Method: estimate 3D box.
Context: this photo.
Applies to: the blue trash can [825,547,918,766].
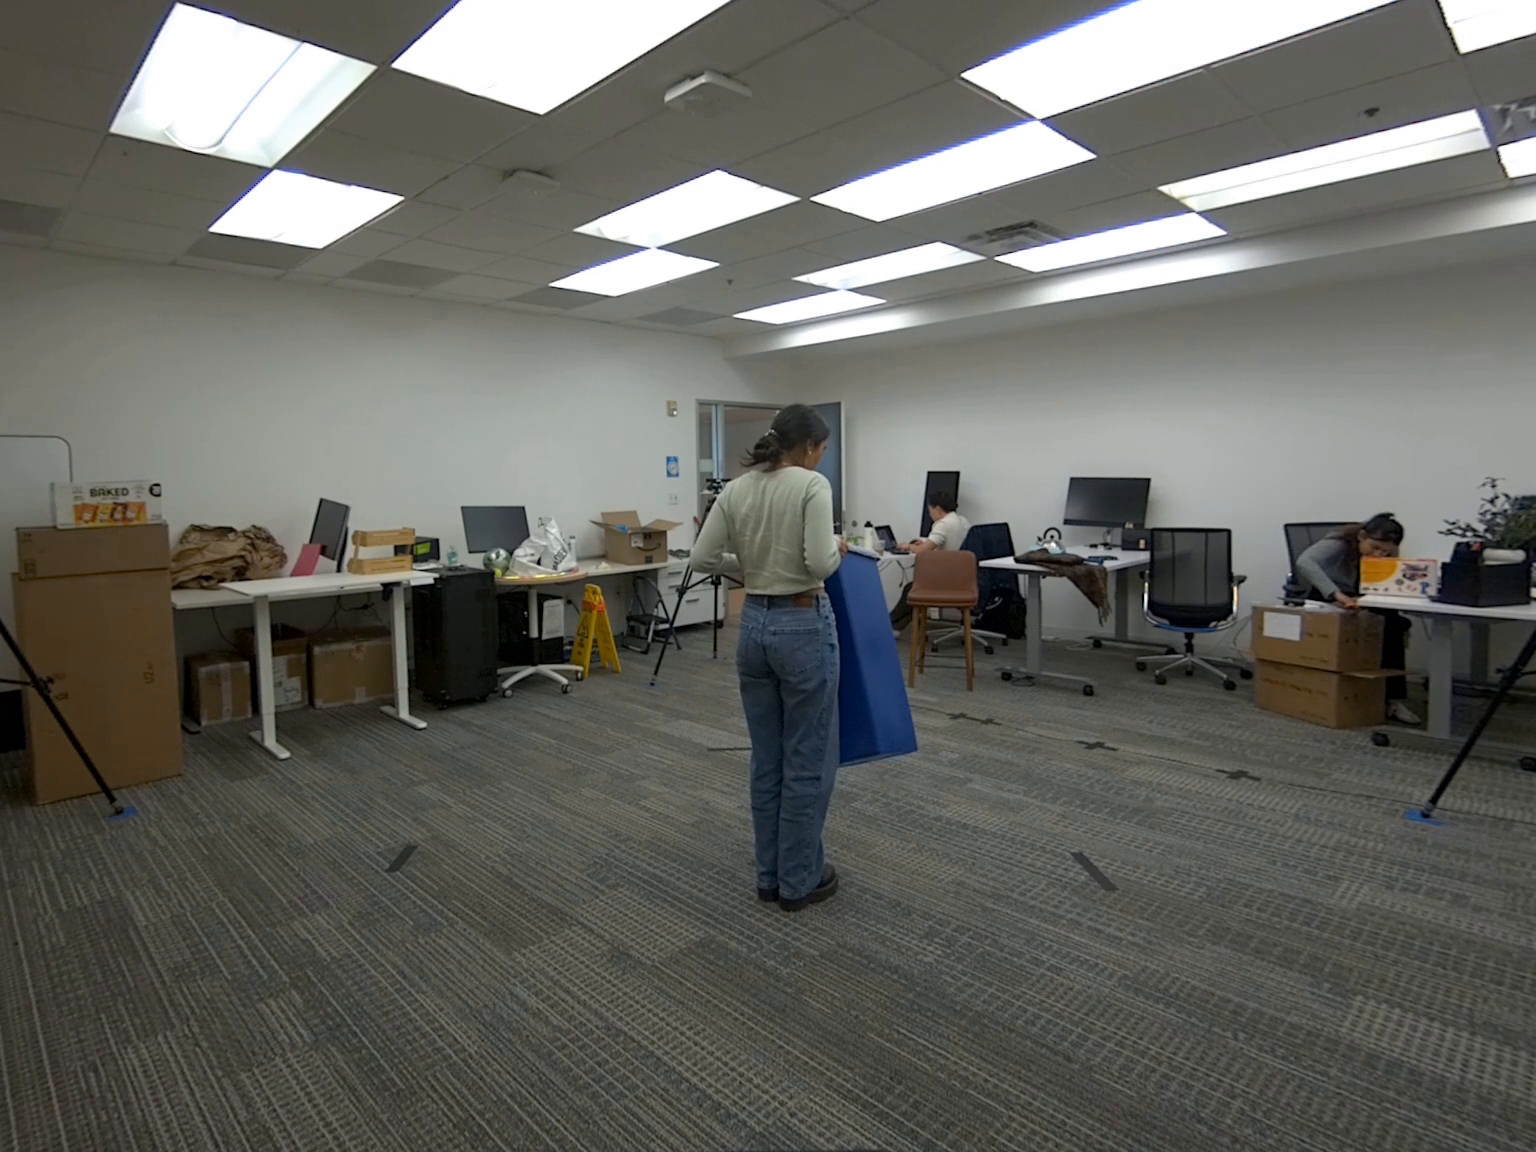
[{"bbox_3d":[0.255,0.291,3.015,0.383,0.727,0.362,-23,-21,31],"label":"blue trash can"}]
